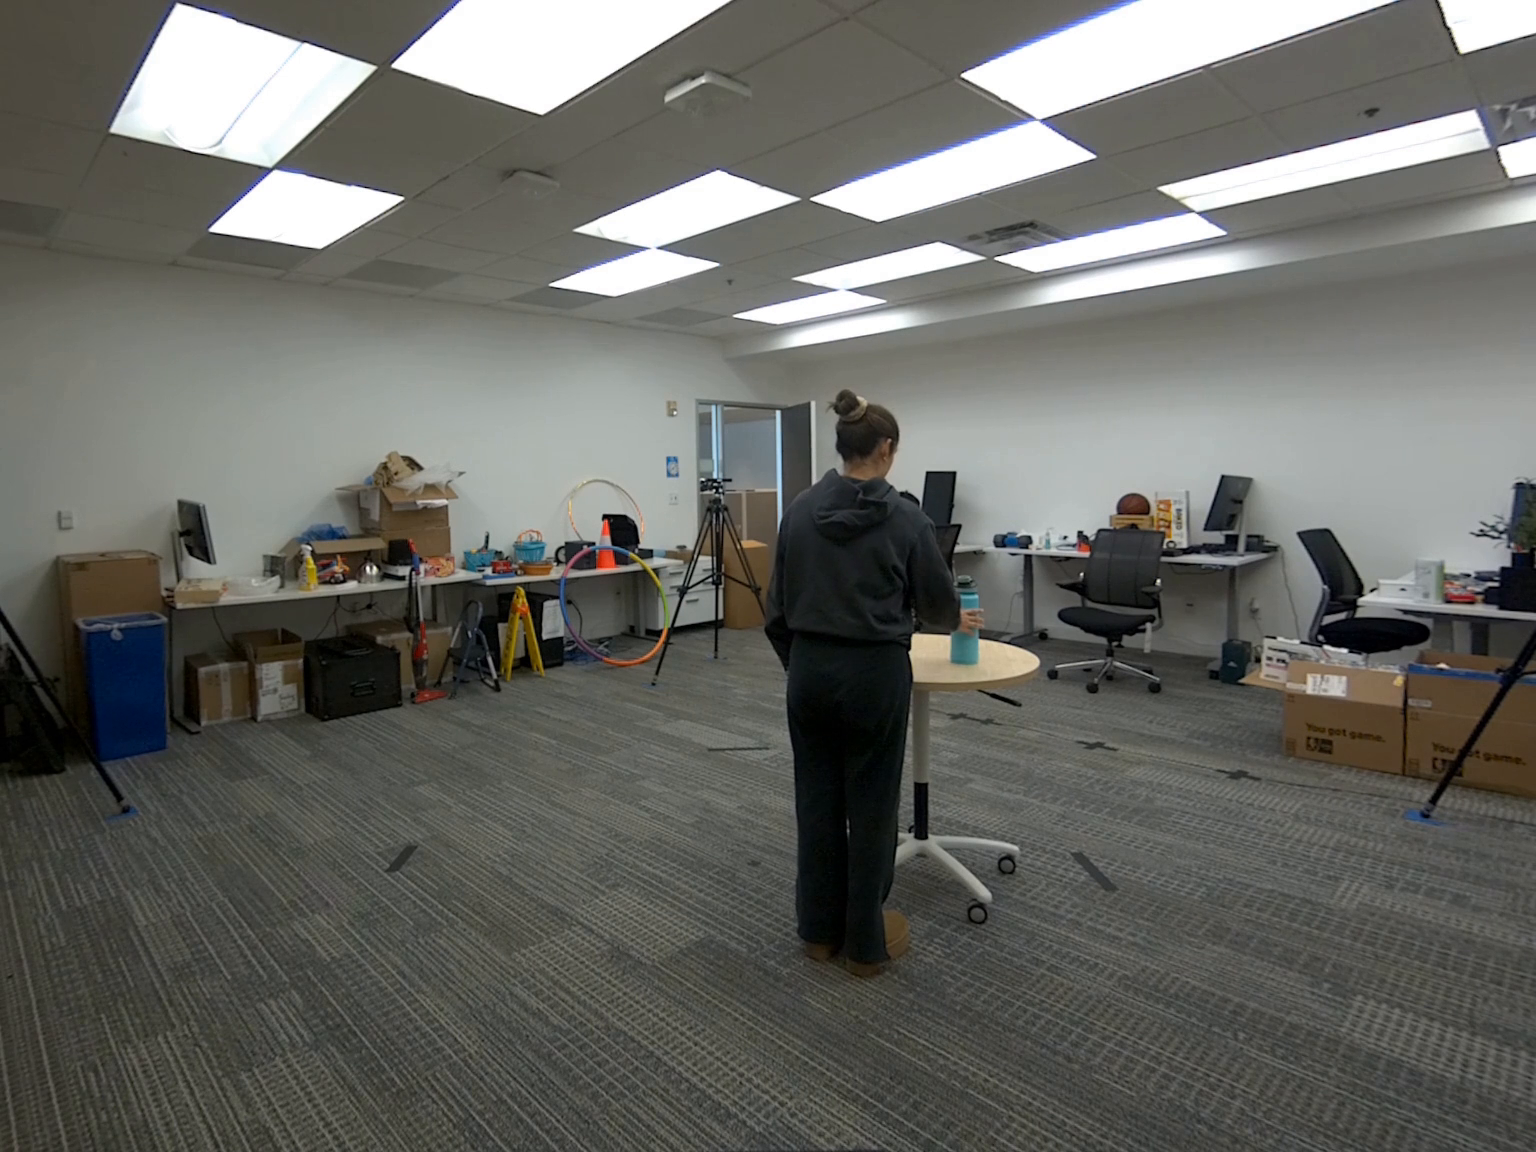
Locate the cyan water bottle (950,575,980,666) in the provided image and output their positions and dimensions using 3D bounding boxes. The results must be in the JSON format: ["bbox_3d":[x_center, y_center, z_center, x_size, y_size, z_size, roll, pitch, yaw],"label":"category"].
[{"bbox_3d":[0.655,0.144,2.805,0.092,0.283,0.092,-1,2,-2],"label":"cyan water bottle"}]
